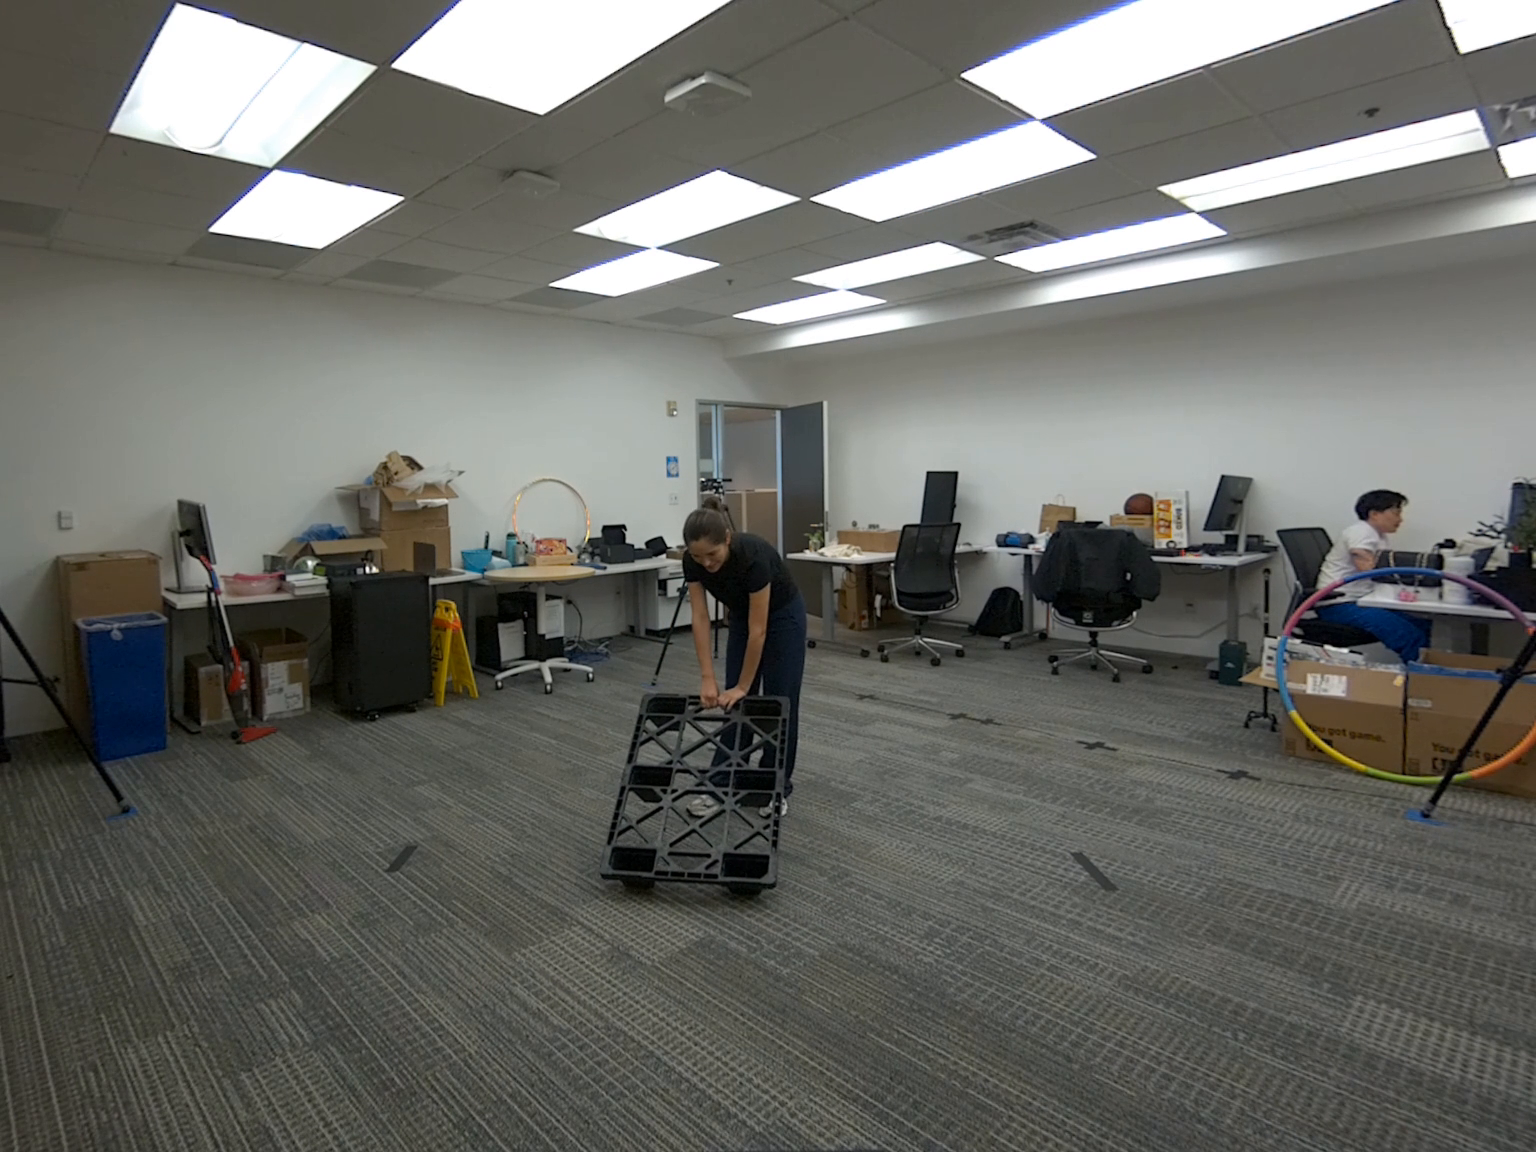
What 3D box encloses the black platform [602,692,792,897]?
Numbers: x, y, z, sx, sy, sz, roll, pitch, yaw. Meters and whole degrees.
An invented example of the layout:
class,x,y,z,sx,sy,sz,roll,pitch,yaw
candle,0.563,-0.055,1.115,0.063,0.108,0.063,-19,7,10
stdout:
class,x,y,z,sx,sy,sz,roll,pitch,yaw
black platform,-0.236,0.776,3.171,0.610,0.139,0.823,-1,40,7
